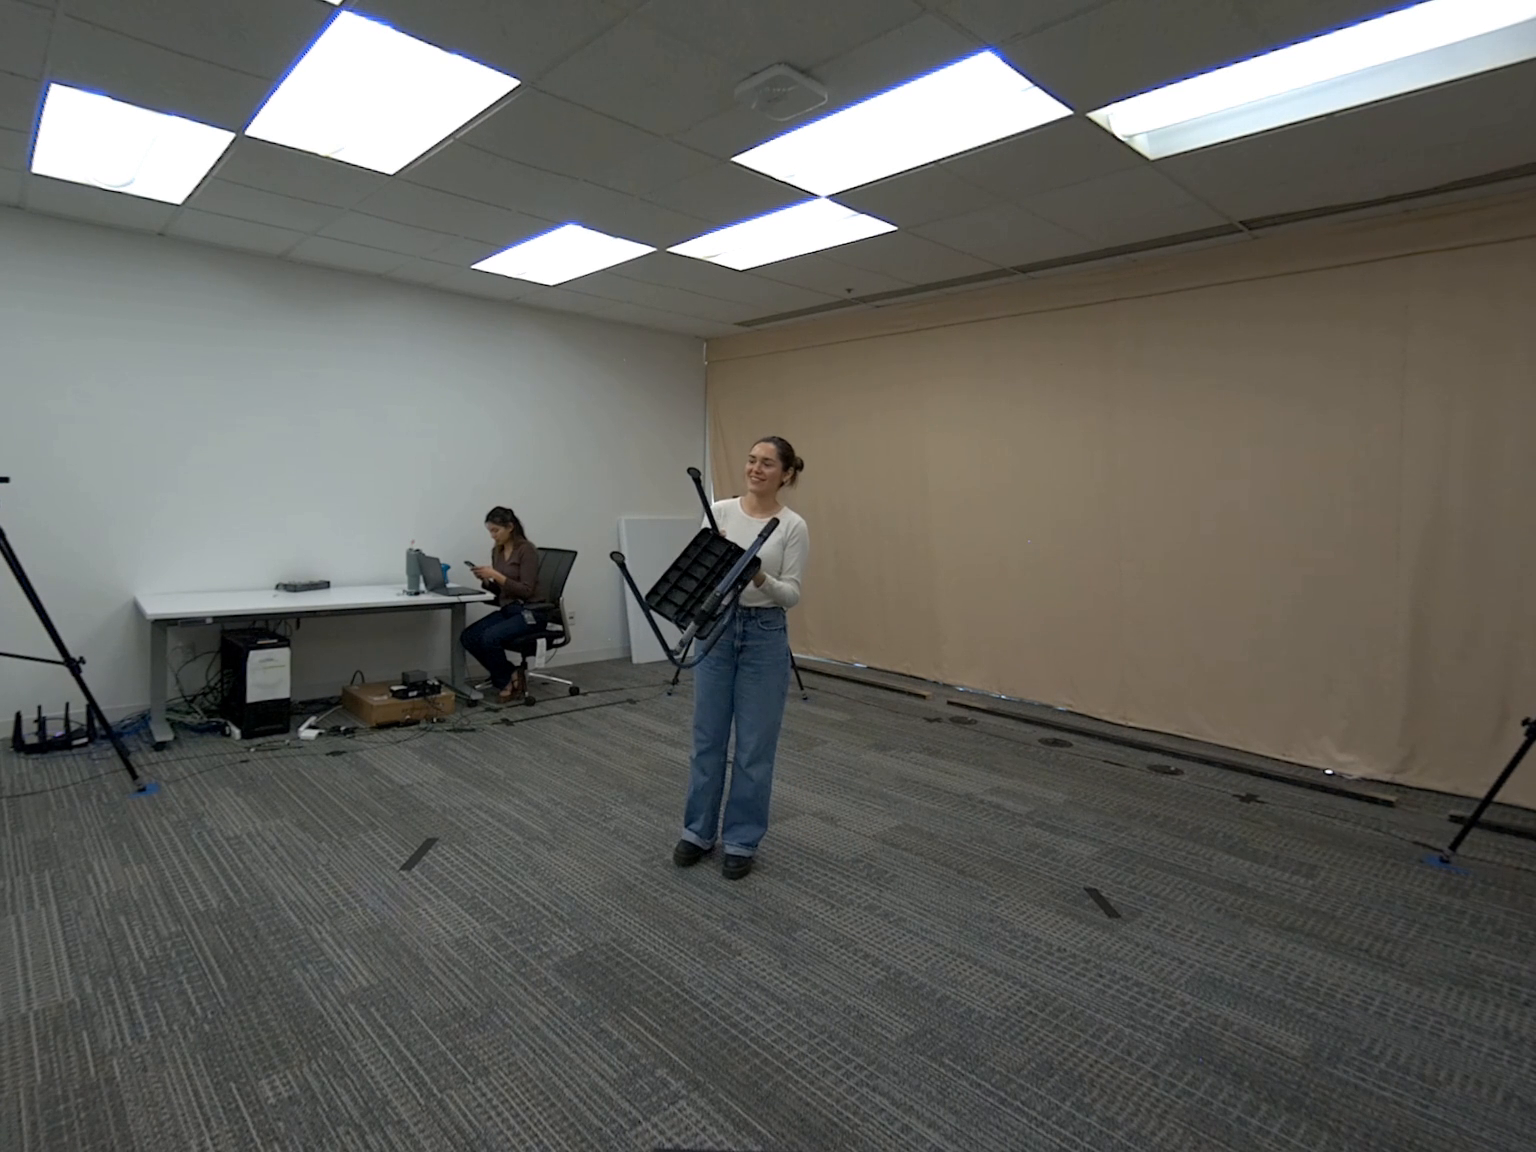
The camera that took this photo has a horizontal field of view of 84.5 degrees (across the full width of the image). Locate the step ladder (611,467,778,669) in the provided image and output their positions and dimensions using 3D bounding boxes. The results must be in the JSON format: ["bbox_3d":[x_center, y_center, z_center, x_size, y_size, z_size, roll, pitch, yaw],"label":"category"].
[{"bbox_3d":[-0.247,0.035,2.809,0.355,0.431,0.594,31,-29,16],"label":"step ladder"}]
